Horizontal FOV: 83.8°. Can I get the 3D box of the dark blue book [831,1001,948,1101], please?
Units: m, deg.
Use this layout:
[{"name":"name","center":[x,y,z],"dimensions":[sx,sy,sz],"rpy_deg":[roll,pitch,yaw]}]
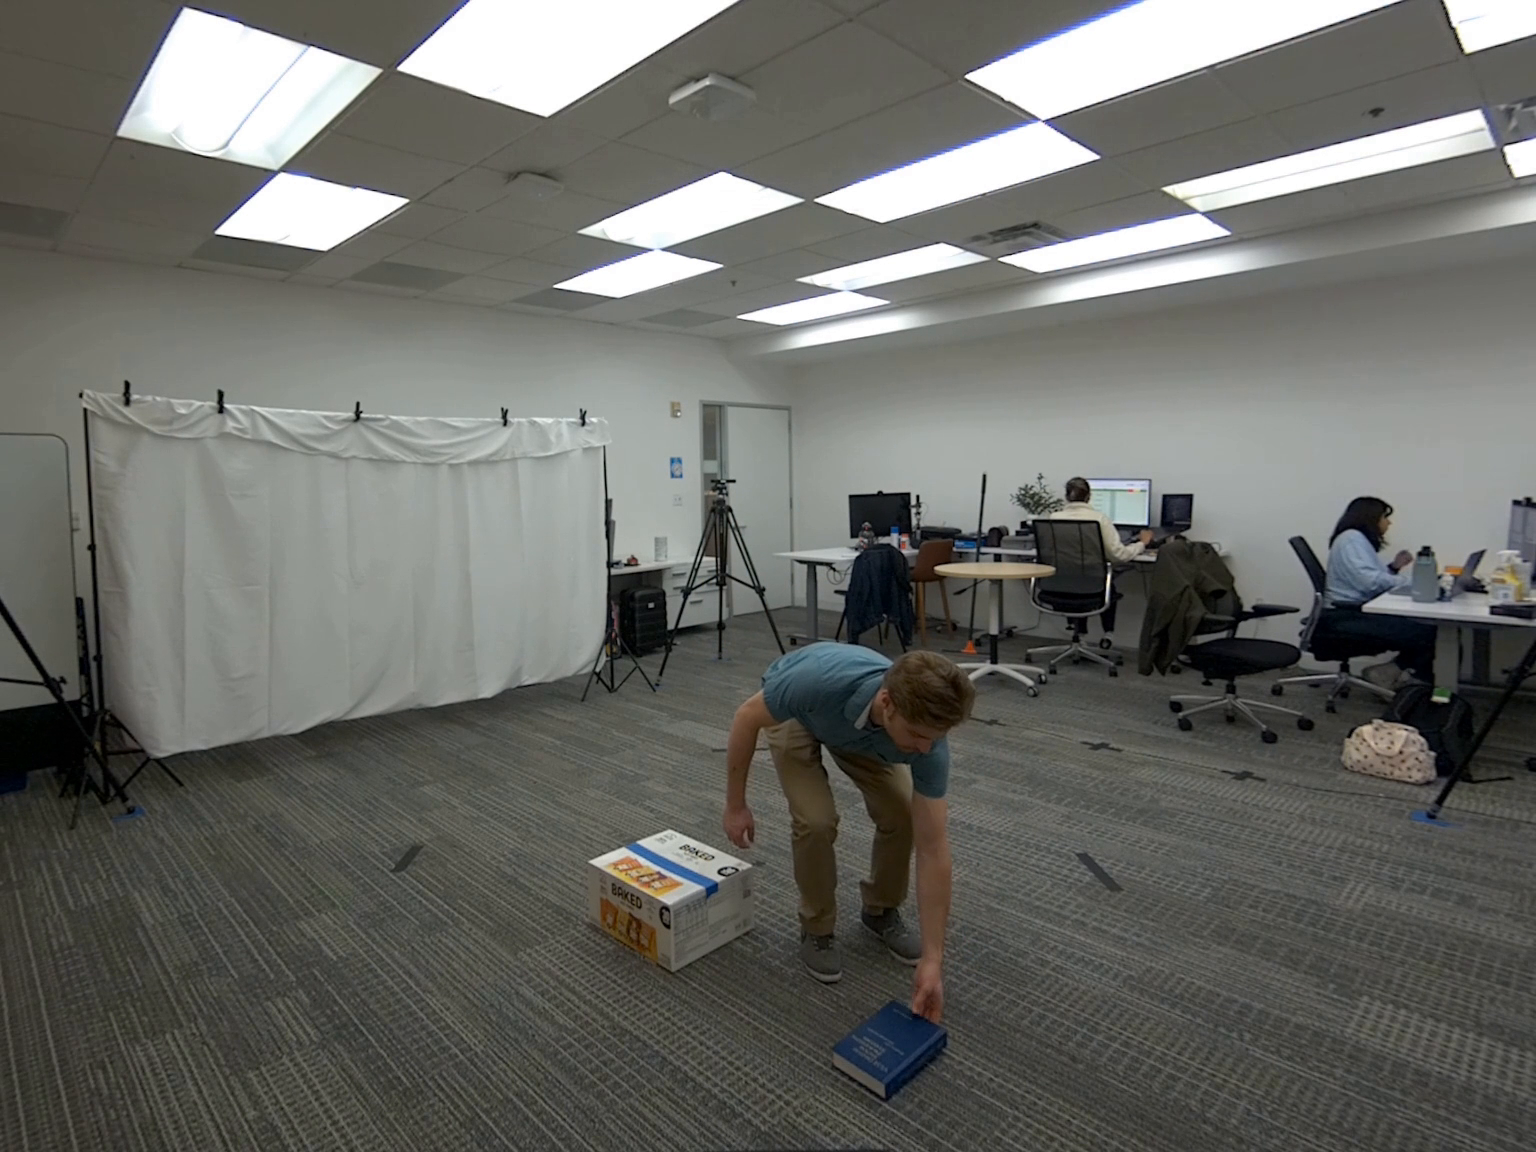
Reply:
[{"name":"dark blue book","center":[0.302,1.143,2.052],"dimensions":[0.239,0.045,0.168],"rpy_deg":[-12,12,-42]}]
